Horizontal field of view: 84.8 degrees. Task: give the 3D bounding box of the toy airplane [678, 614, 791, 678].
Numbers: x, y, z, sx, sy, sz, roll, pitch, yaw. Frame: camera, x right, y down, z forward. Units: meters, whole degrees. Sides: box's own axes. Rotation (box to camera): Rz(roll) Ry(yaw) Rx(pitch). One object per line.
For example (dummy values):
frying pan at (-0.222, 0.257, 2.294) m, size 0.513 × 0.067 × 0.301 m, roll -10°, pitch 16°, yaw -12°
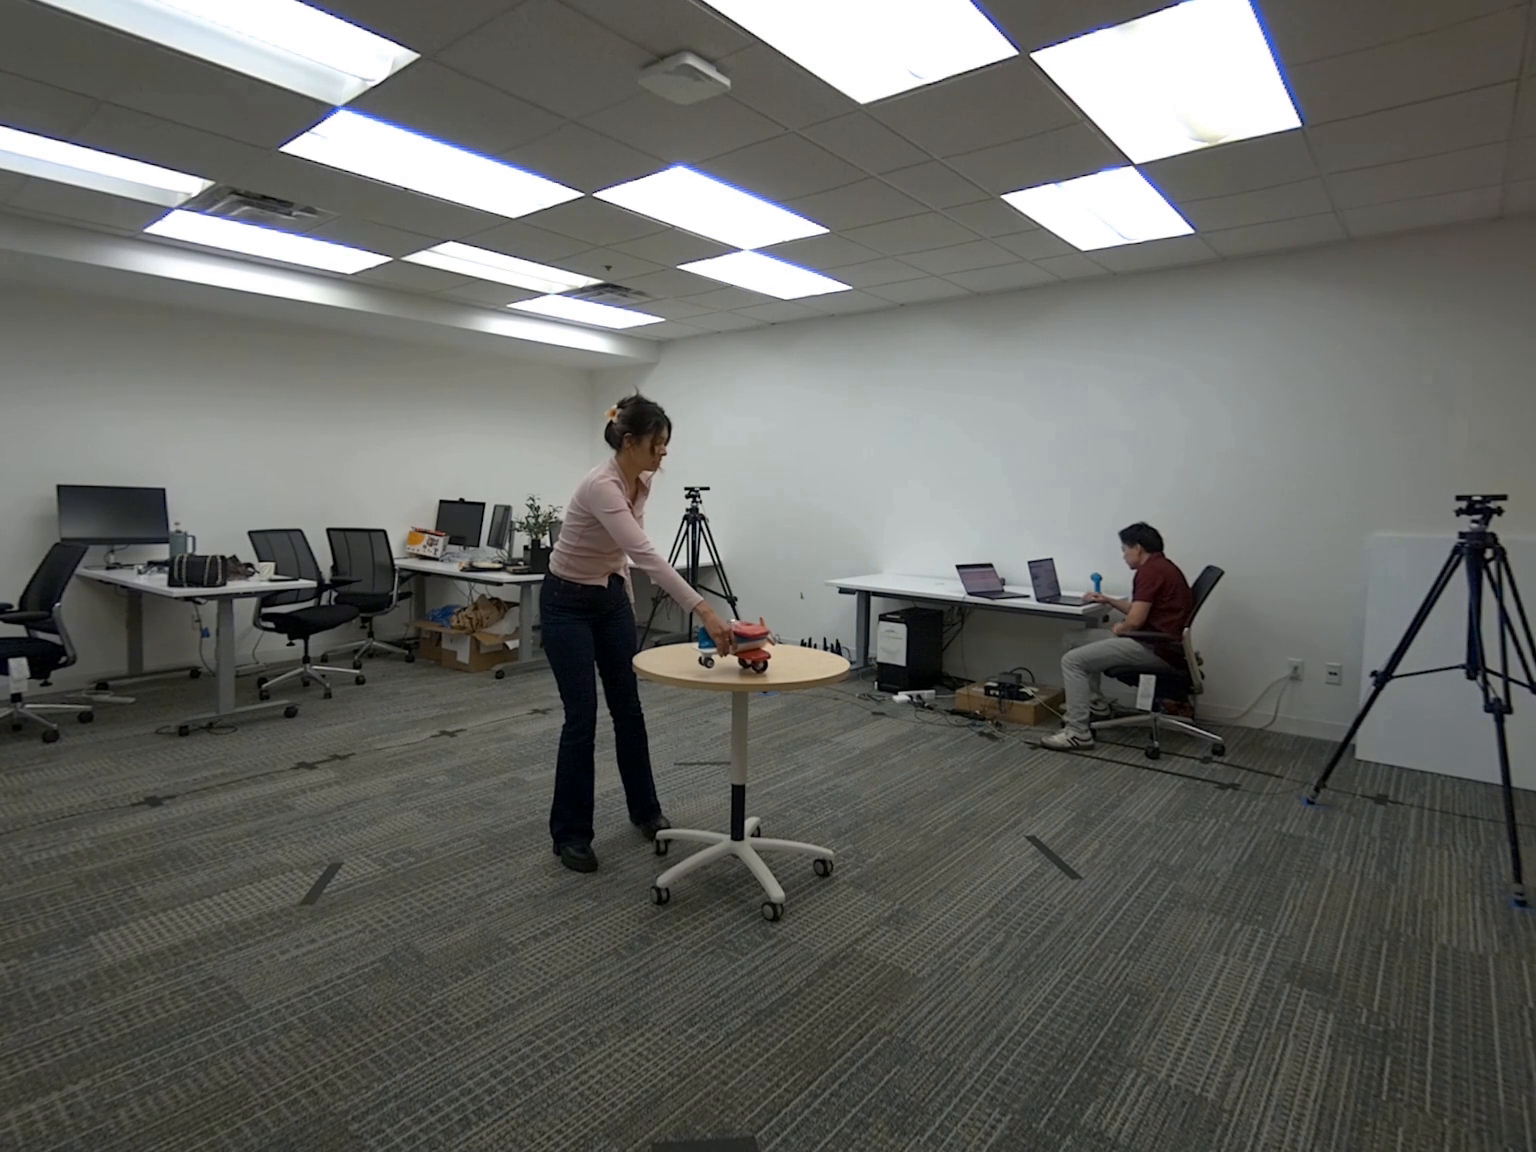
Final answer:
toy airplane at (-0.110, 0.227, 2.777) m, size 0.259 × 0.156 × 0.250 m, roll 8°, pitch 0°, yaw 33°
